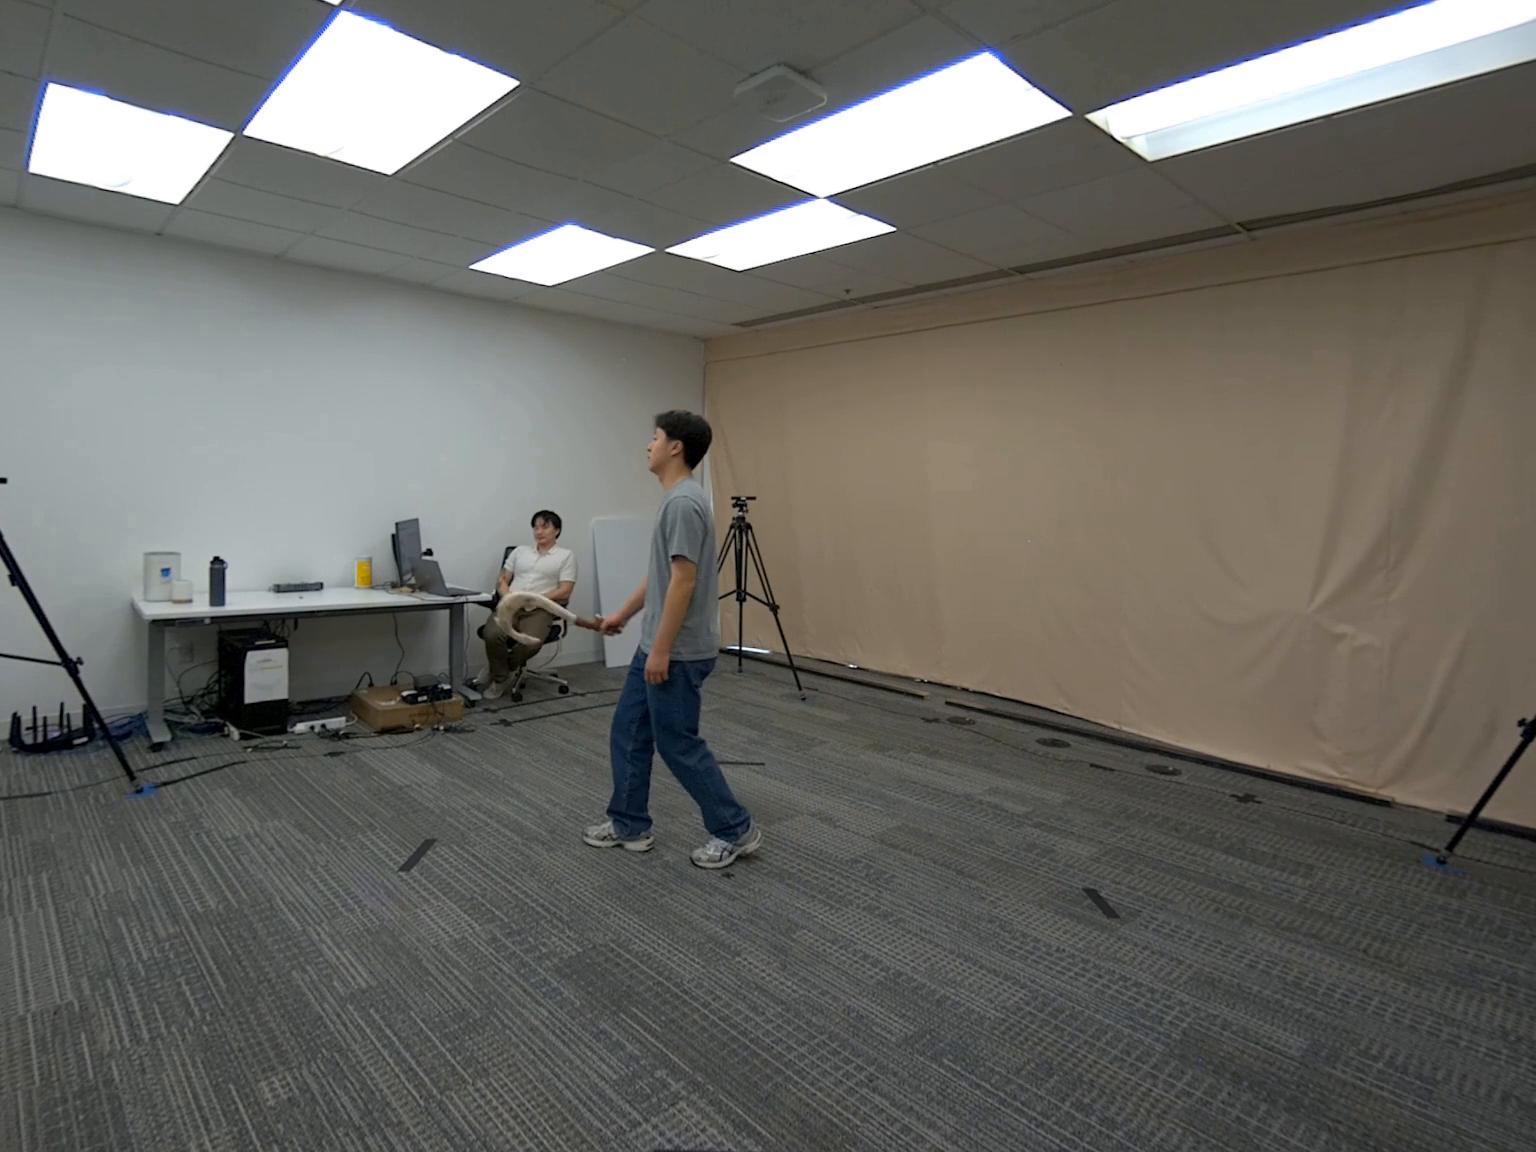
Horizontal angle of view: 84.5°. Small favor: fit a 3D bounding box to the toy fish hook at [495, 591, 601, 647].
[{"bbox_3d":[-0.843,0.179,3.444,0.500,0.223,0.049,17,22,-14],"label":"toy fish hook"}]
